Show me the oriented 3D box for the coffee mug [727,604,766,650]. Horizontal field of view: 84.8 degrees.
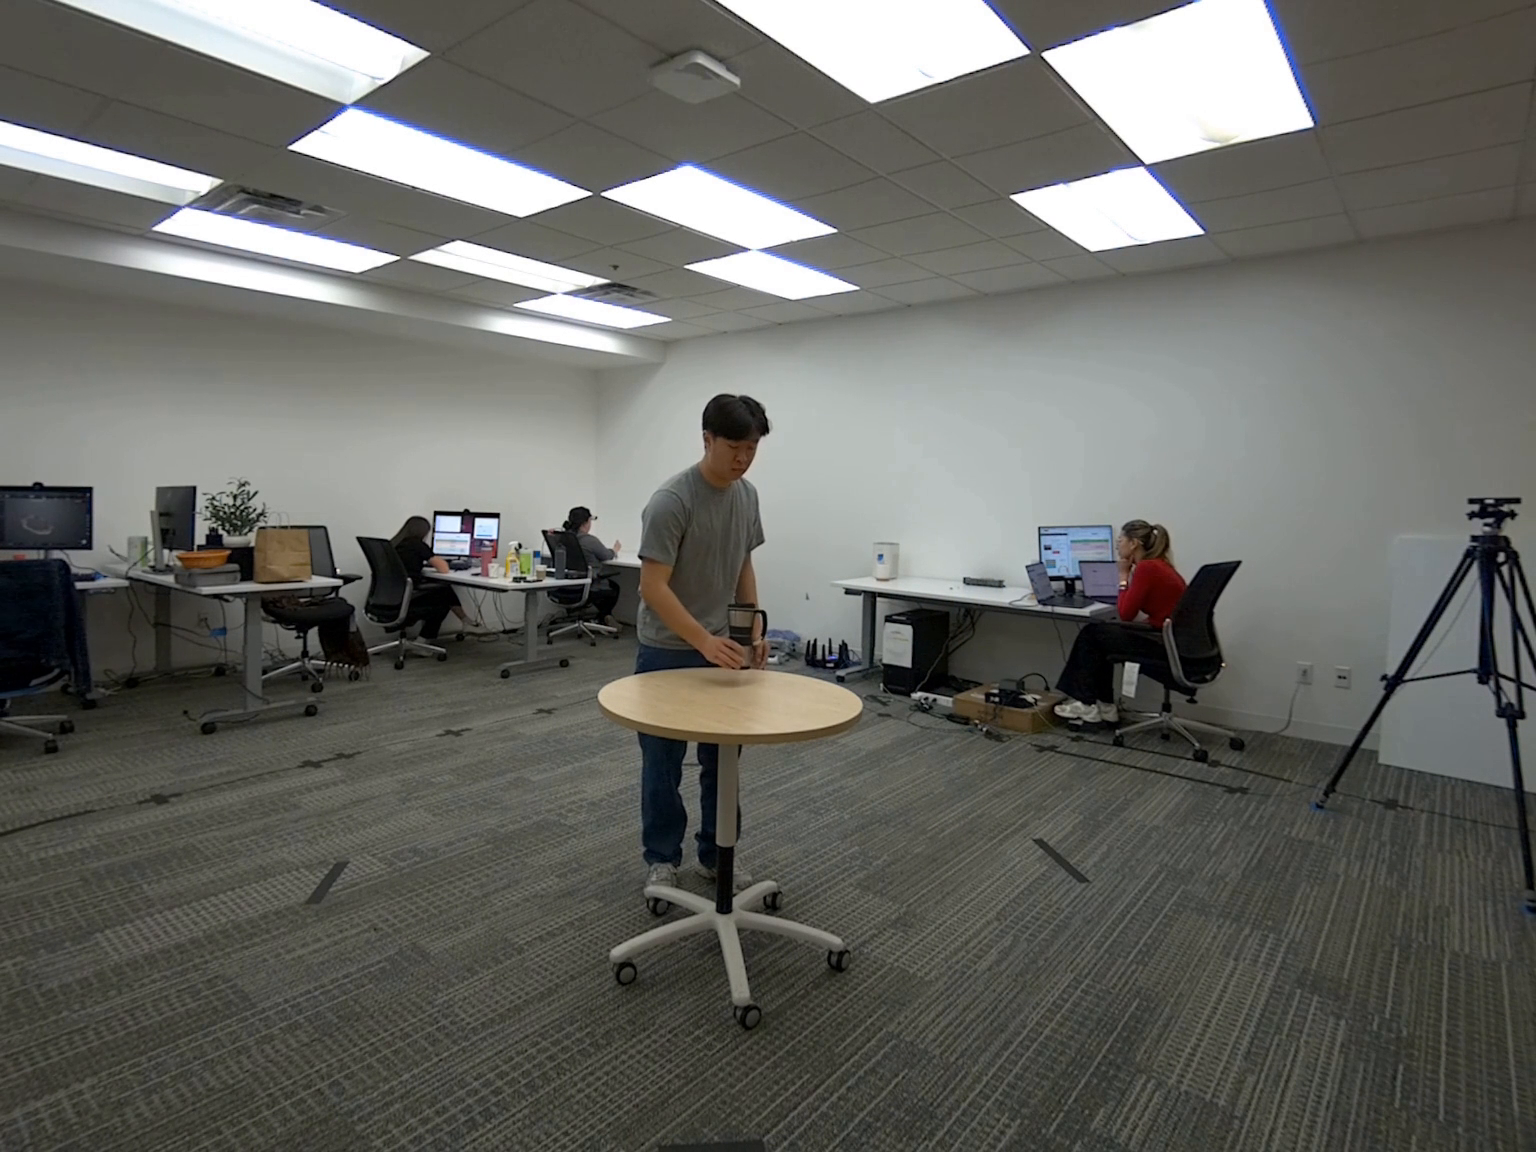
[{"bbox_3d":[-0.067,0.184,2.618,0.123,0.204,0.086,-1,-4,11],"label":"coffee mug"}]
